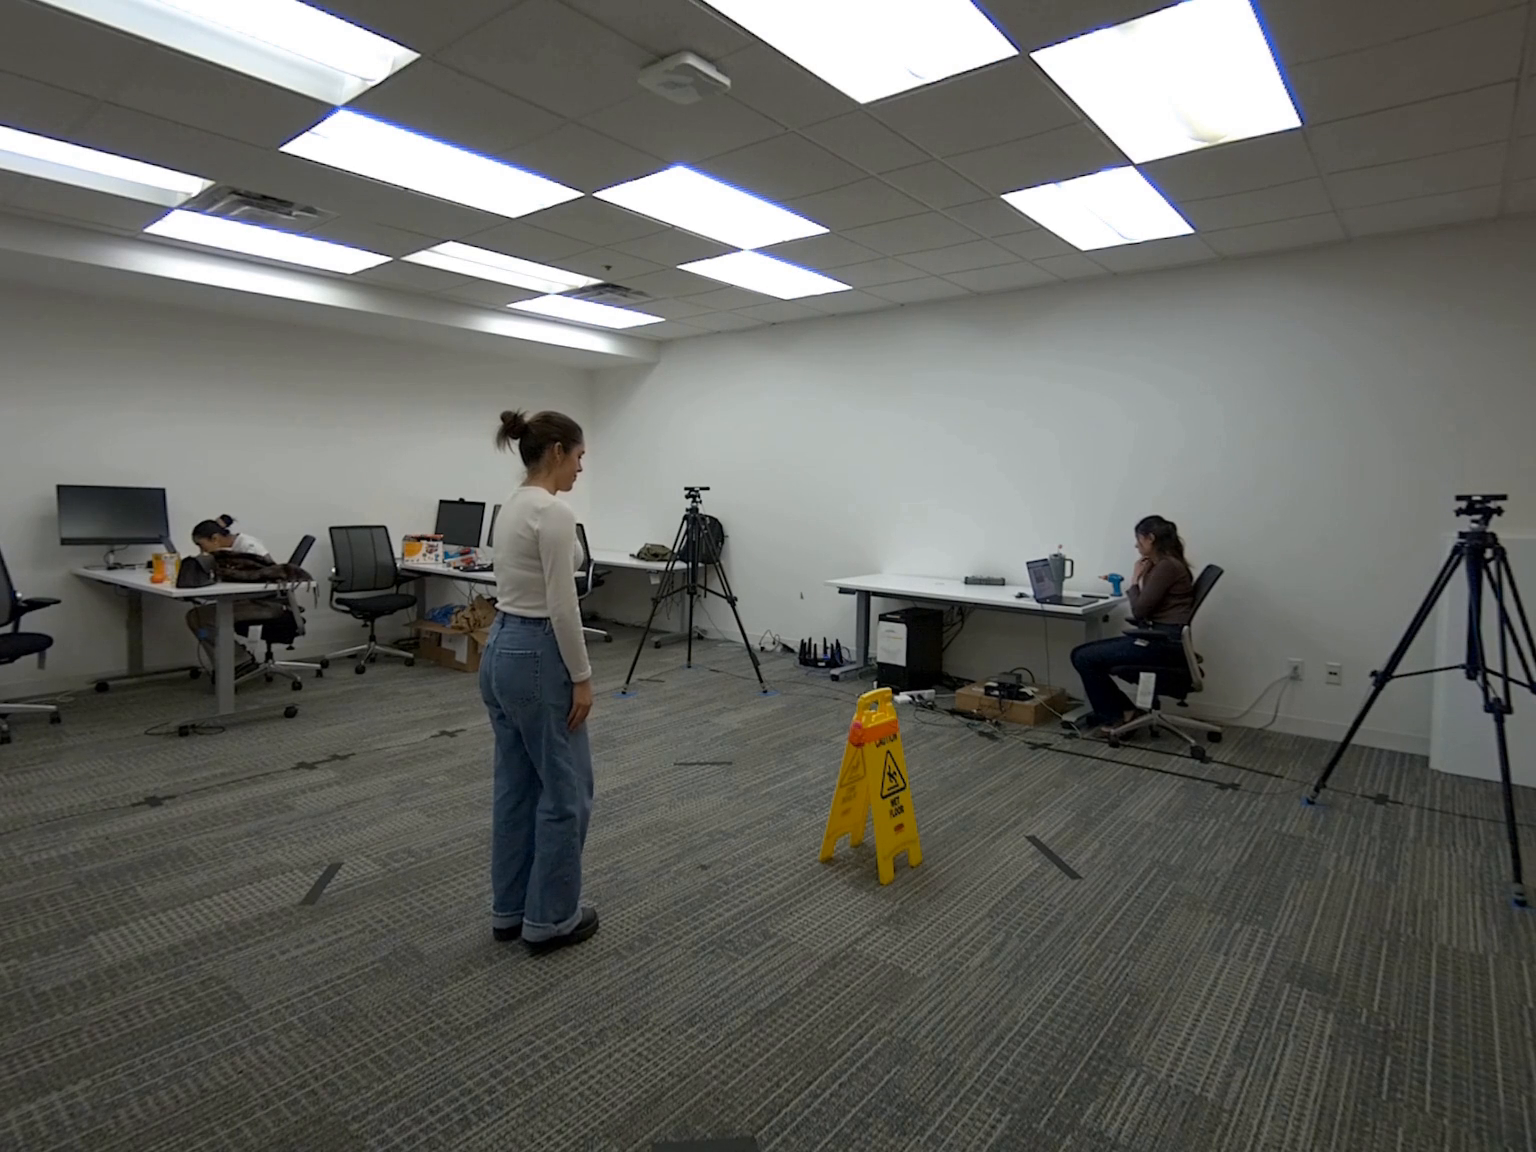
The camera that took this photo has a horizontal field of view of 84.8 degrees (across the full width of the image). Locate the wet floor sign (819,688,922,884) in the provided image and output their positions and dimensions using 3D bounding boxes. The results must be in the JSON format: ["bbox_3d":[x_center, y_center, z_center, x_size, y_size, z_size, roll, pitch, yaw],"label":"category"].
[{"bbox_3d":[0.384,0.744,3.180,0.299,0.645,0.273,3,3,40],"label":"wet floor sign"}]
